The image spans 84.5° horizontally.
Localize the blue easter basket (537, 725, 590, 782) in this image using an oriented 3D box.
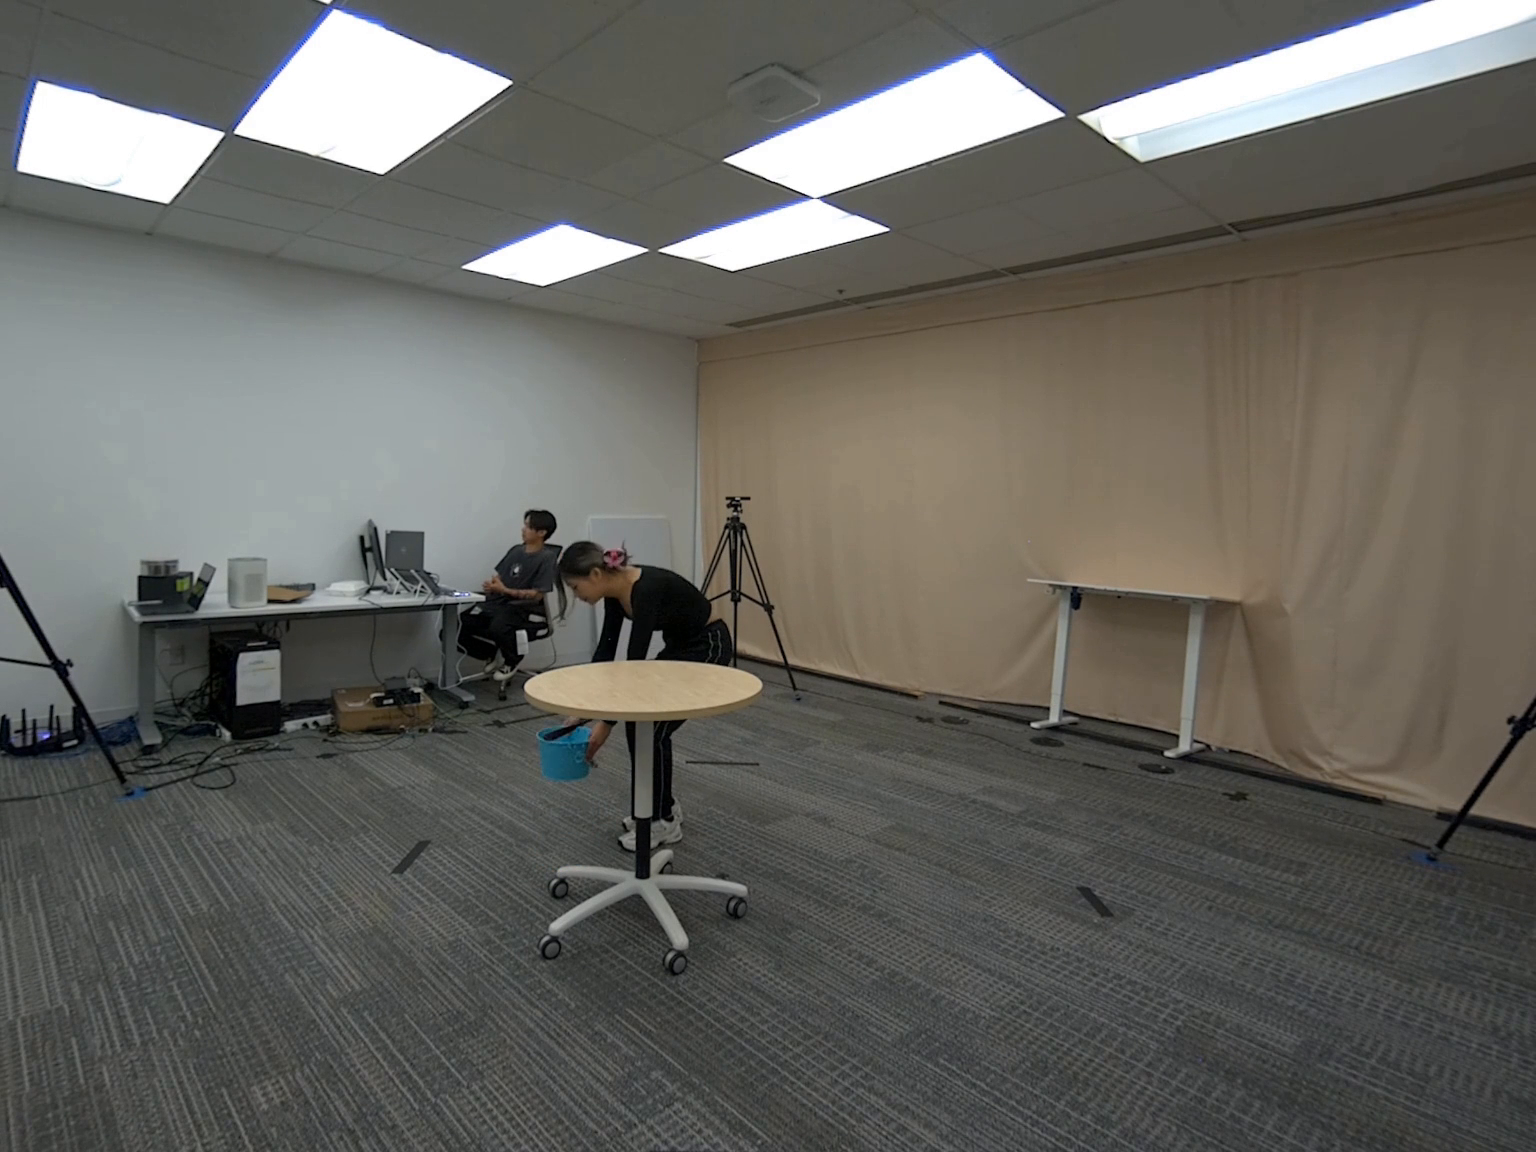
[{"bbox_3d":[-0.784,0.693,3.251,0.243,0.155,0.244,3,5,-2],"label":"blue easter basket"}]
